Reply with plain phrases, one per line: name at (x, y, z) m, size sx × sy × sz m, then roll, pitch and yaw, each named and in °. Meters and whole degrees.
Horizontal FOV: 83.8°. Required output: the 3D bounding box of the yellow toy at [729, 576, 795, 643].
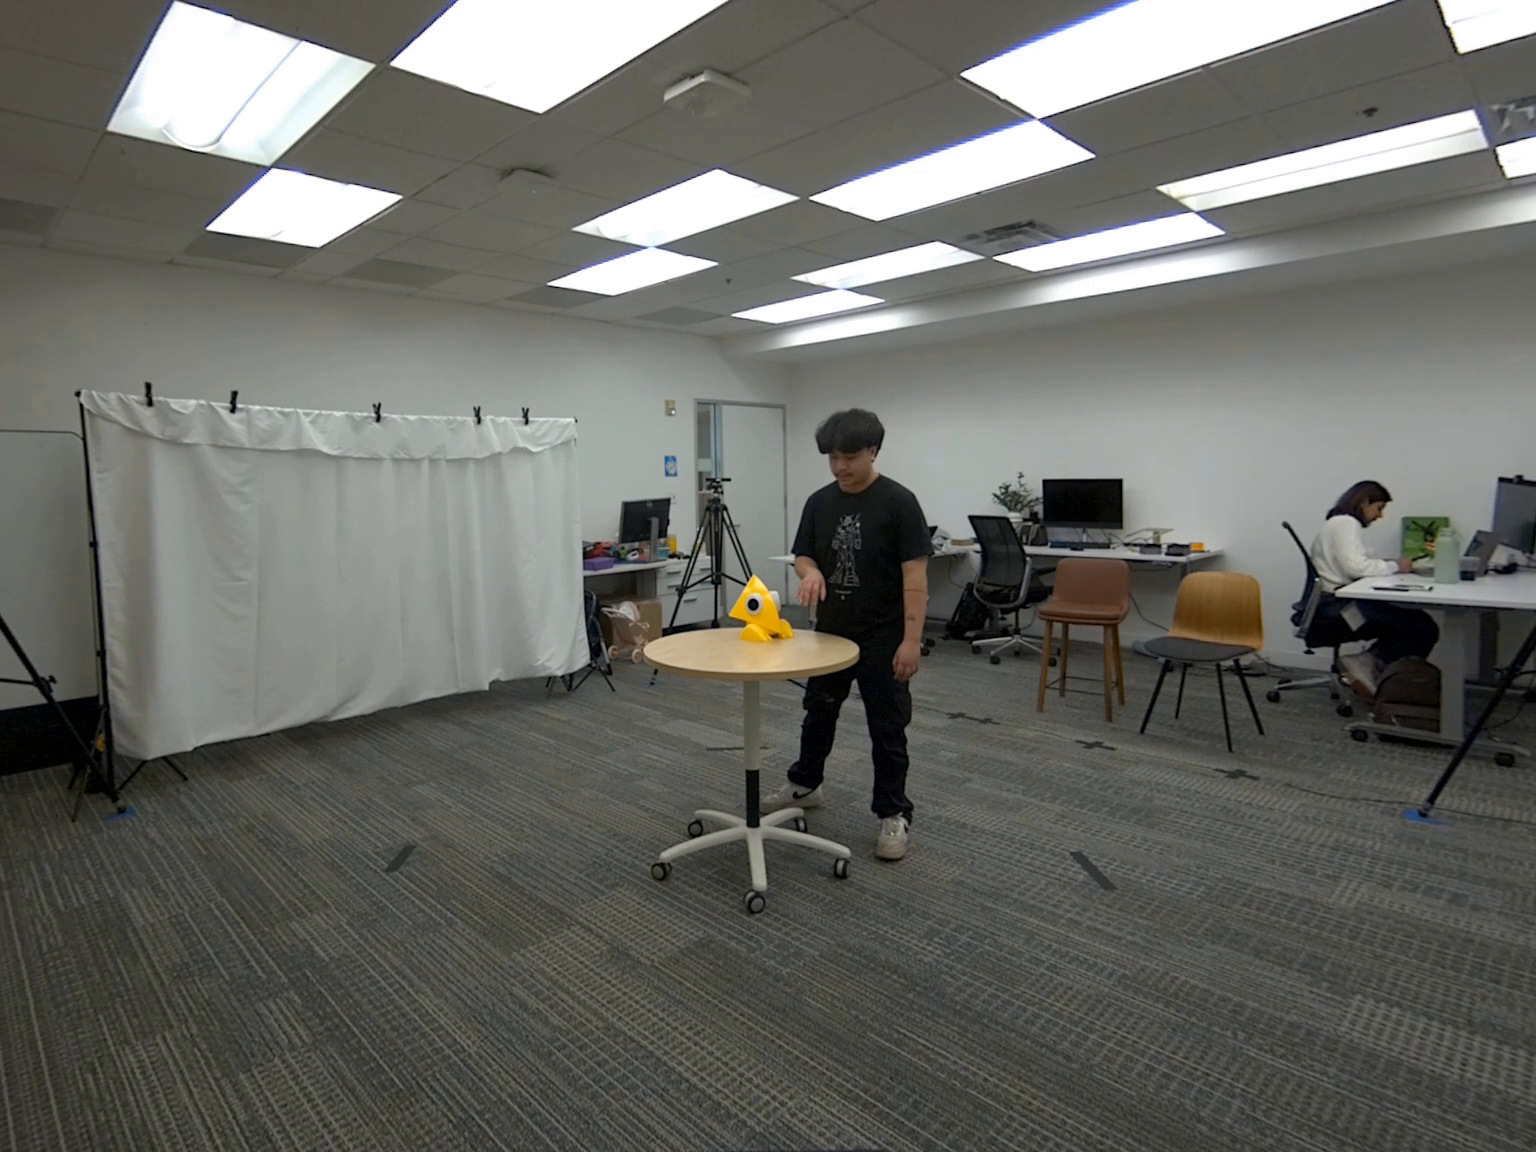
yellow toy at (-0.009, 0.115, 3.247) m, size 0.199 × 0.230 × 0.199 m, roll -4°, pitch 7°, yaw -38°
